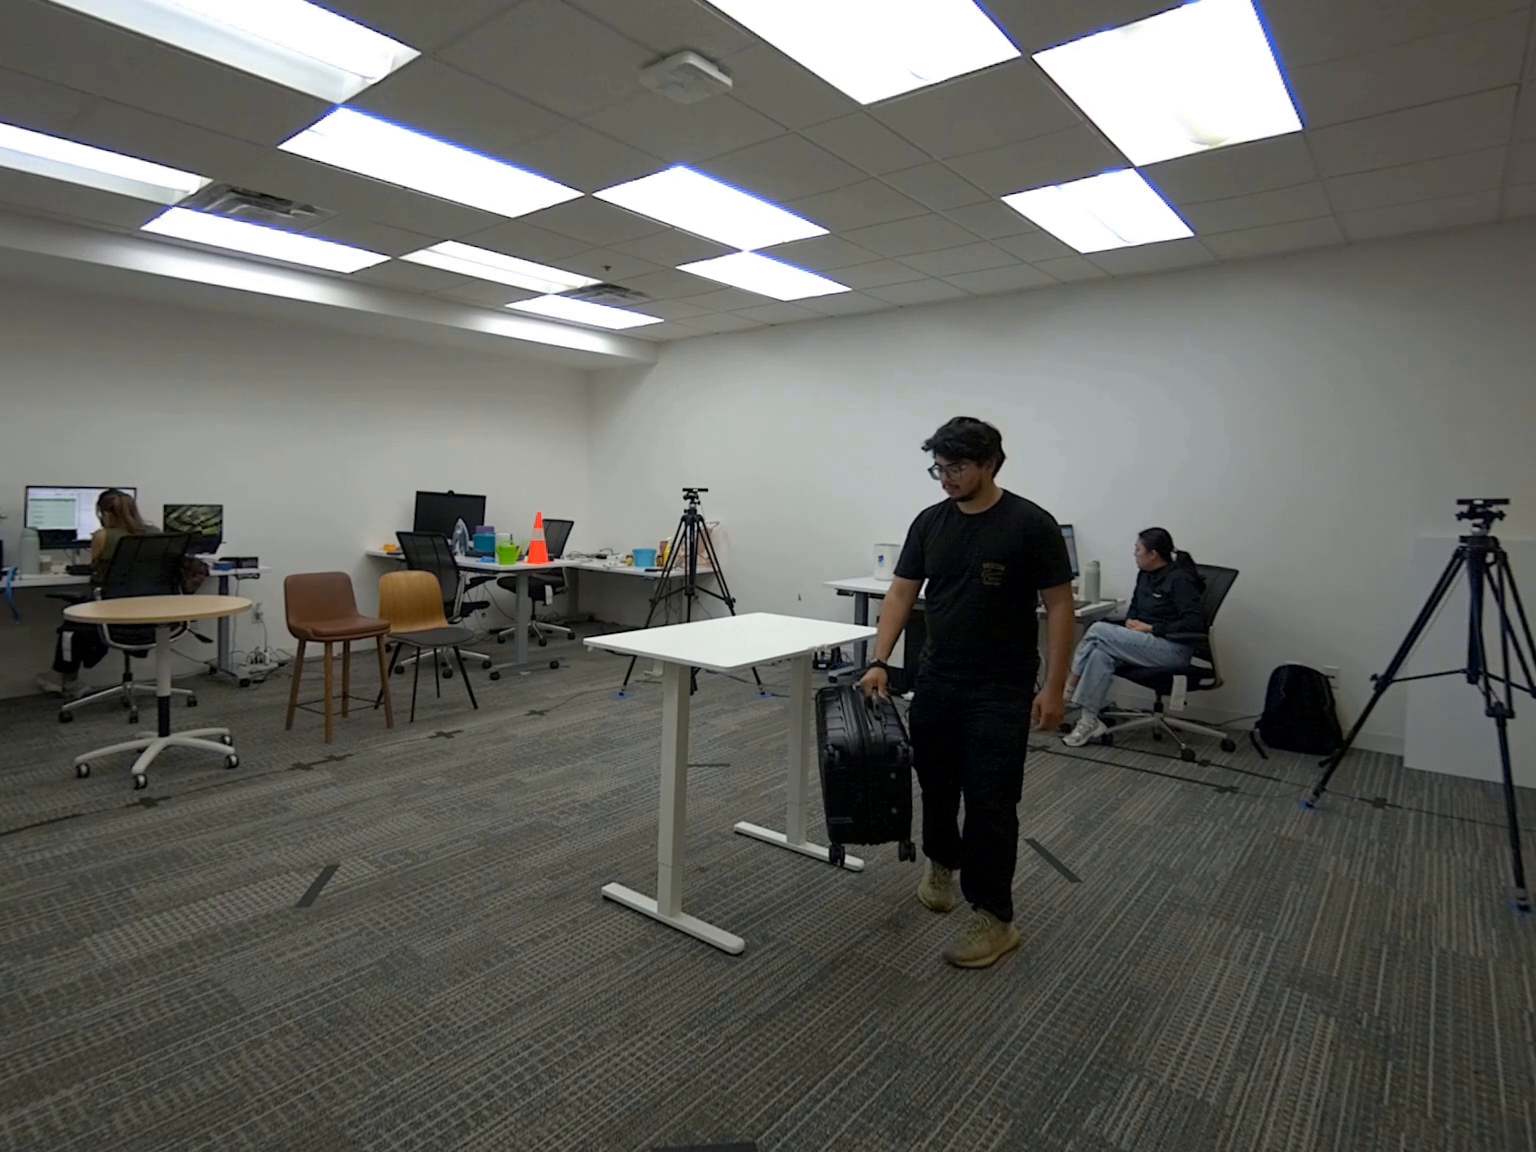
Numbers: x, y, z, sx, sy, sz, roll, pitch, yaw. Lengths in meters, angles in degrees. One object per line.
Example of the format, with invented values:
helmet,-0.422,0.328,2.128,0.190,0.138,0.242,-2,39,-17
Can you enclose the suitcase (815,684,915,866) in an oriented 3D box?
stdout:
suitcase,0.293,0.574,2.652,0.249,0.371,0.554,-4,13,2
